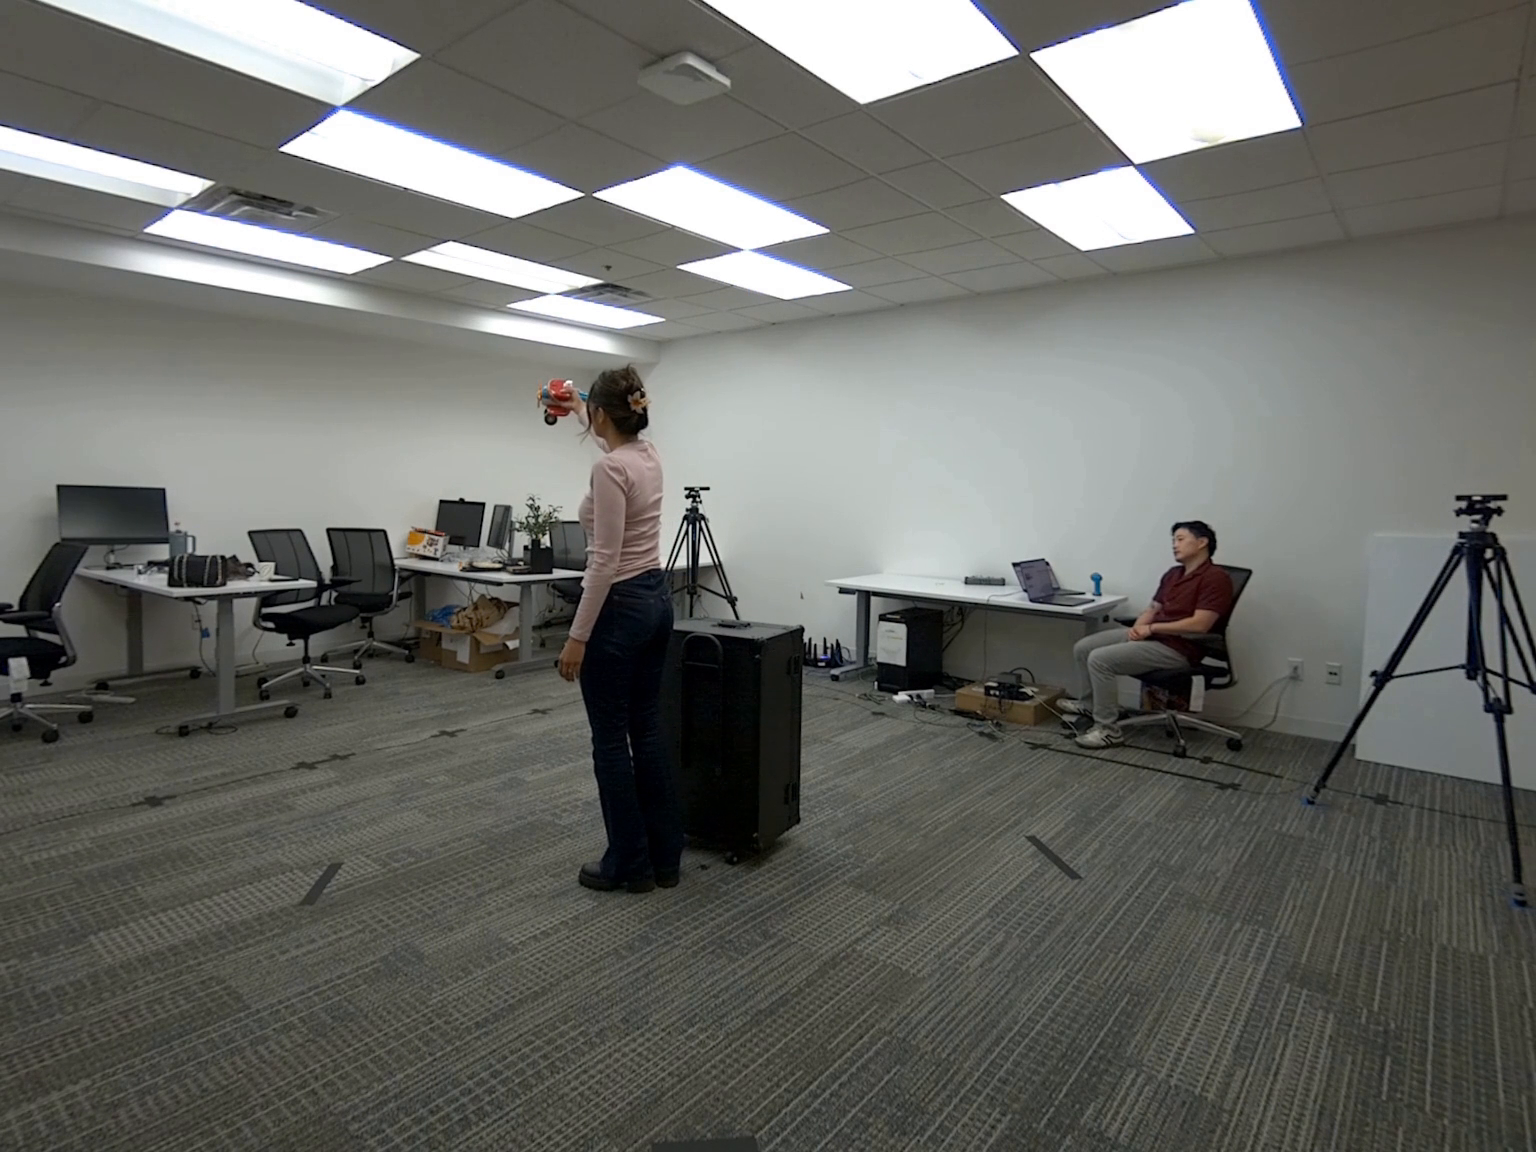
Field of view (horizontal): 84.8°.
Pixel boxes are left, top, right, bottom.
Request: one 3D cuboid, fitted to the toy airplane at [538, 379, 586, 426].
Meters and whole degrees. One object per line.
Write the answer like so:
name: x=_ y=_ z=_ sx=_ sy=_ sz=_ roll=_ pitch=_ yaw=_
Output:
toy airplane: x=-0.840 y=-0.742 z=3.549 sx=0.255 sy=0.152 sz=0.261 roll=-27 pitch=35 yaw=-33
